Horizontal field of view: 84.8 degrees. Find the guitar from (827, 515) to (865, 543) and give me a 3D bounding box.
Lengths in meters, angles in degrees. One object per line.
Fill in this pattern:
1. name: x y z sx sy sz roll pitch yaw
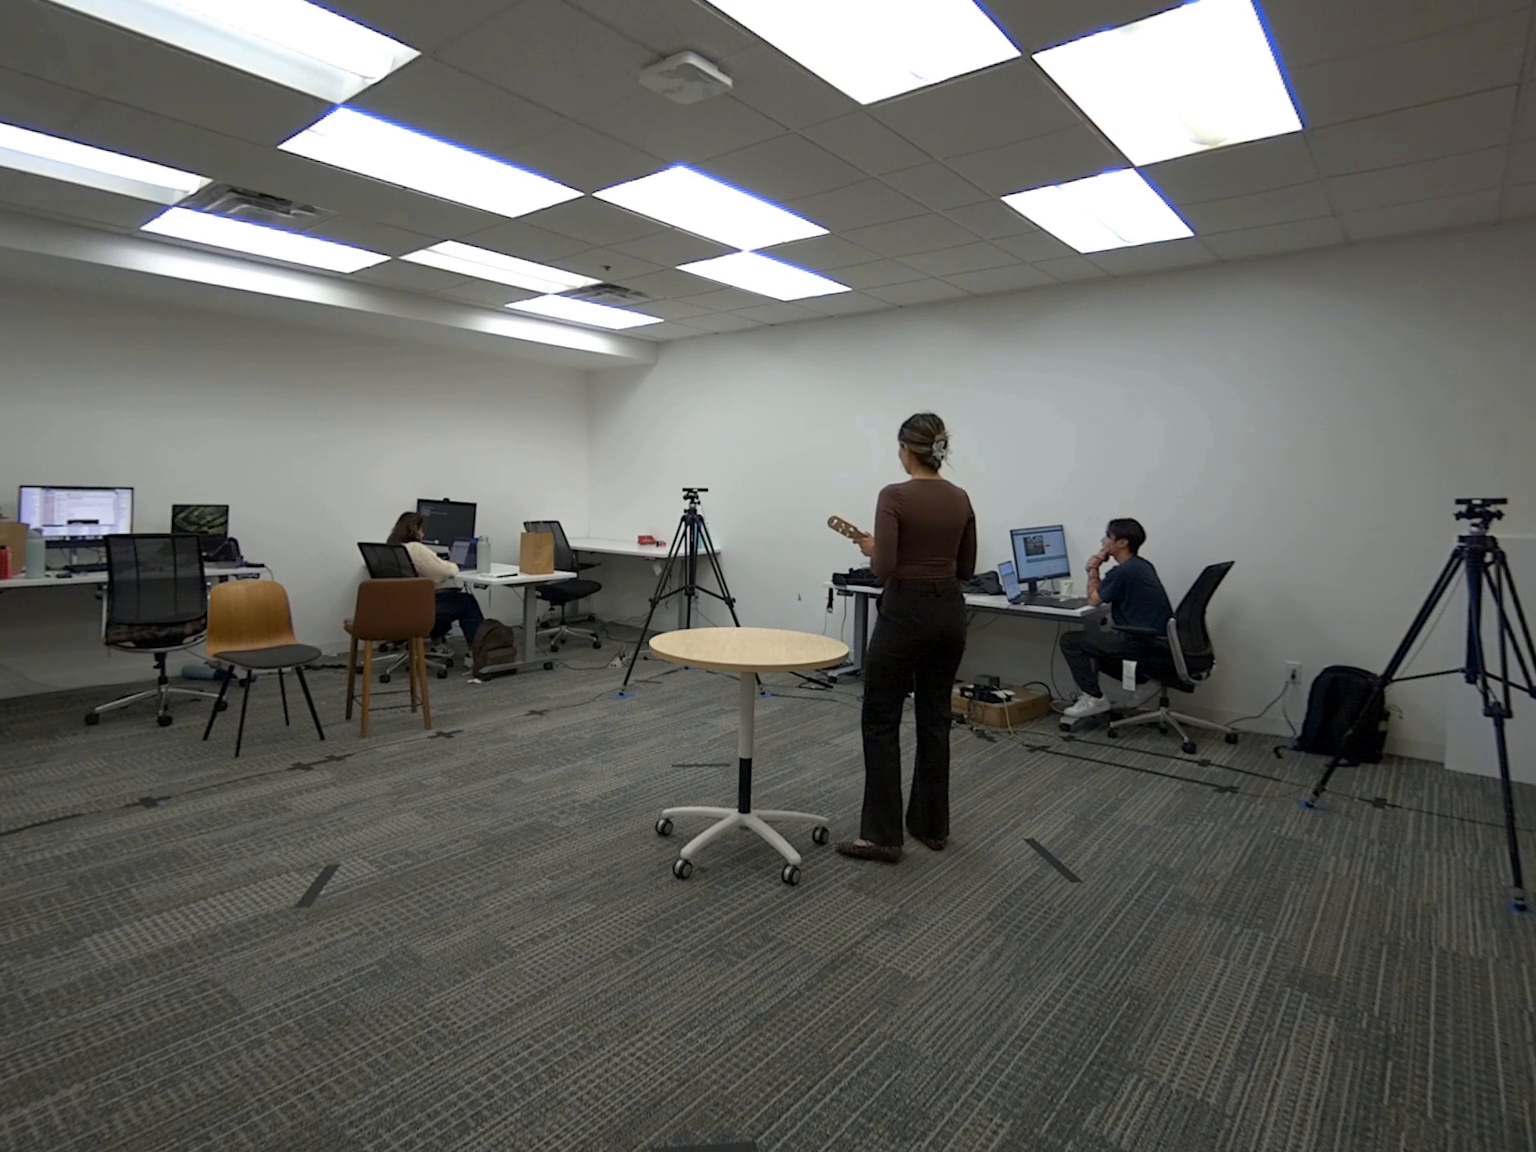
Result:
1. guitar: 0.441 -0.091 3.516 0.498 0.191 0.071 22 19 1
